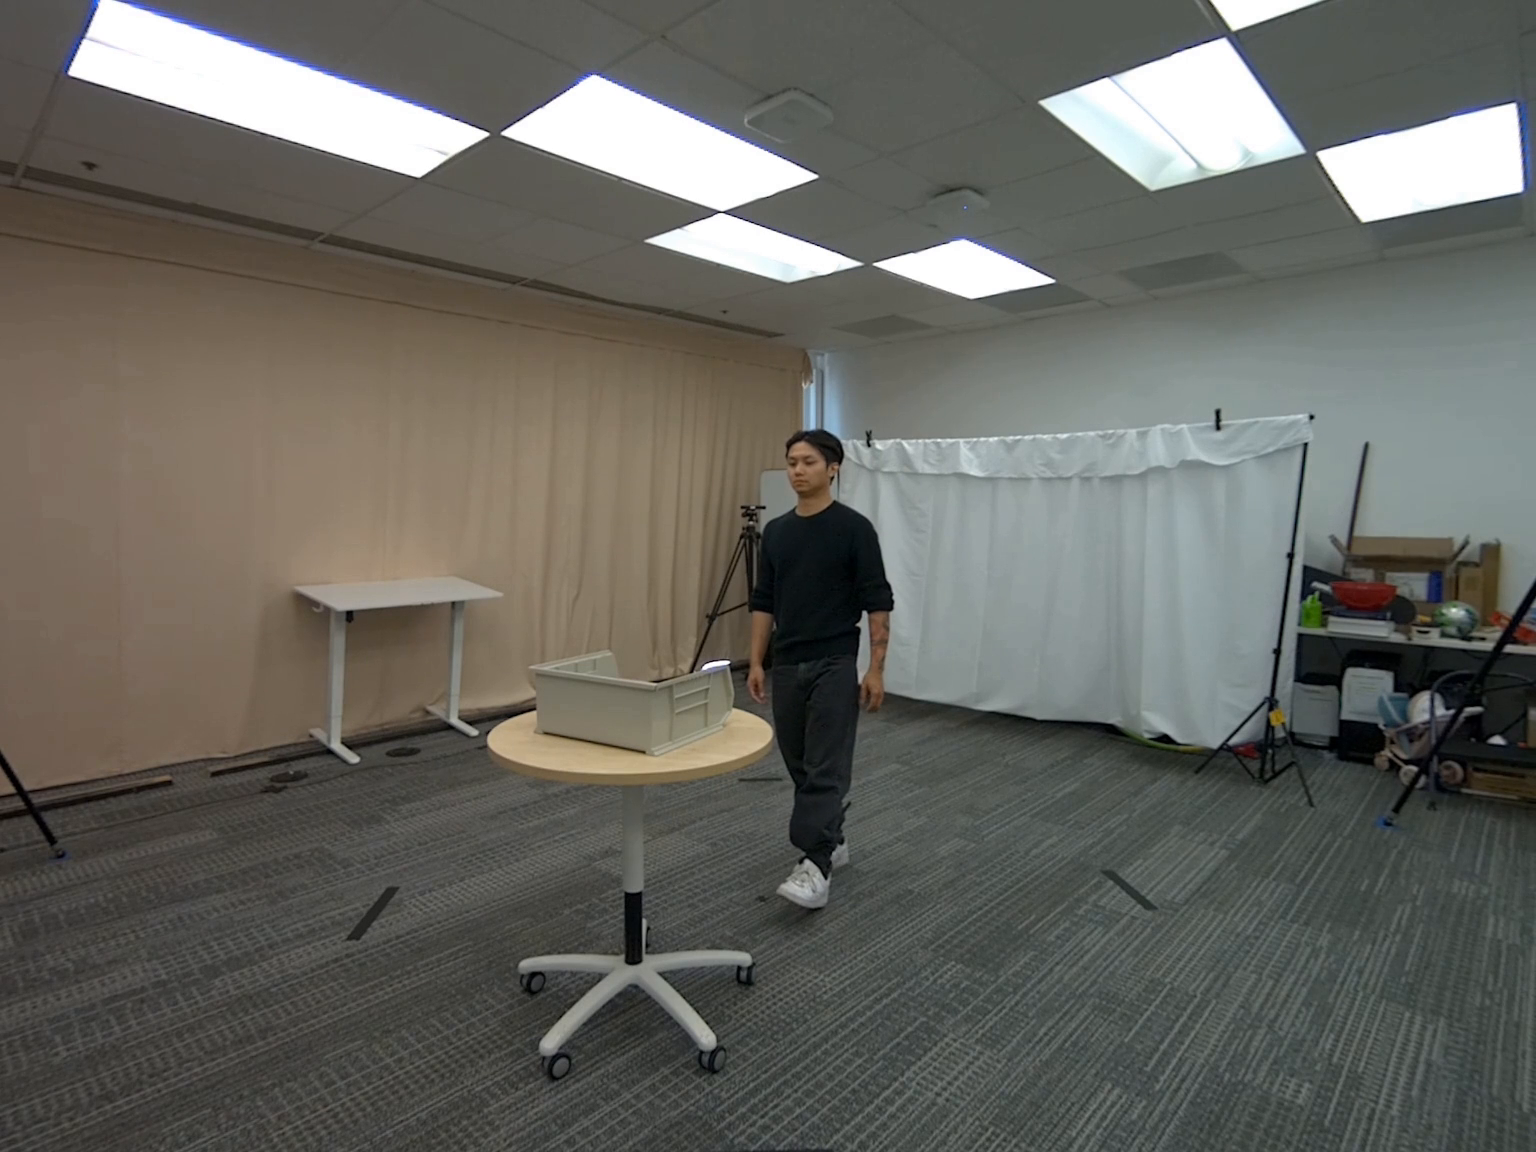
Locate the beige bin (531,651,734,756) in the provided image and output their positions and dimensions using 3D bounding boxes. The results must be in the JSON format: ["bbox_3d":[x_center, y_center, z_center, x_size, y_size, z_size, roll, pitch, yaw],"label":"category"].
[{"bbox_3d":[-0.367,0.334,2.291,0.435,0.188,0.367,3,6,30],"label":"beige bin"}]
